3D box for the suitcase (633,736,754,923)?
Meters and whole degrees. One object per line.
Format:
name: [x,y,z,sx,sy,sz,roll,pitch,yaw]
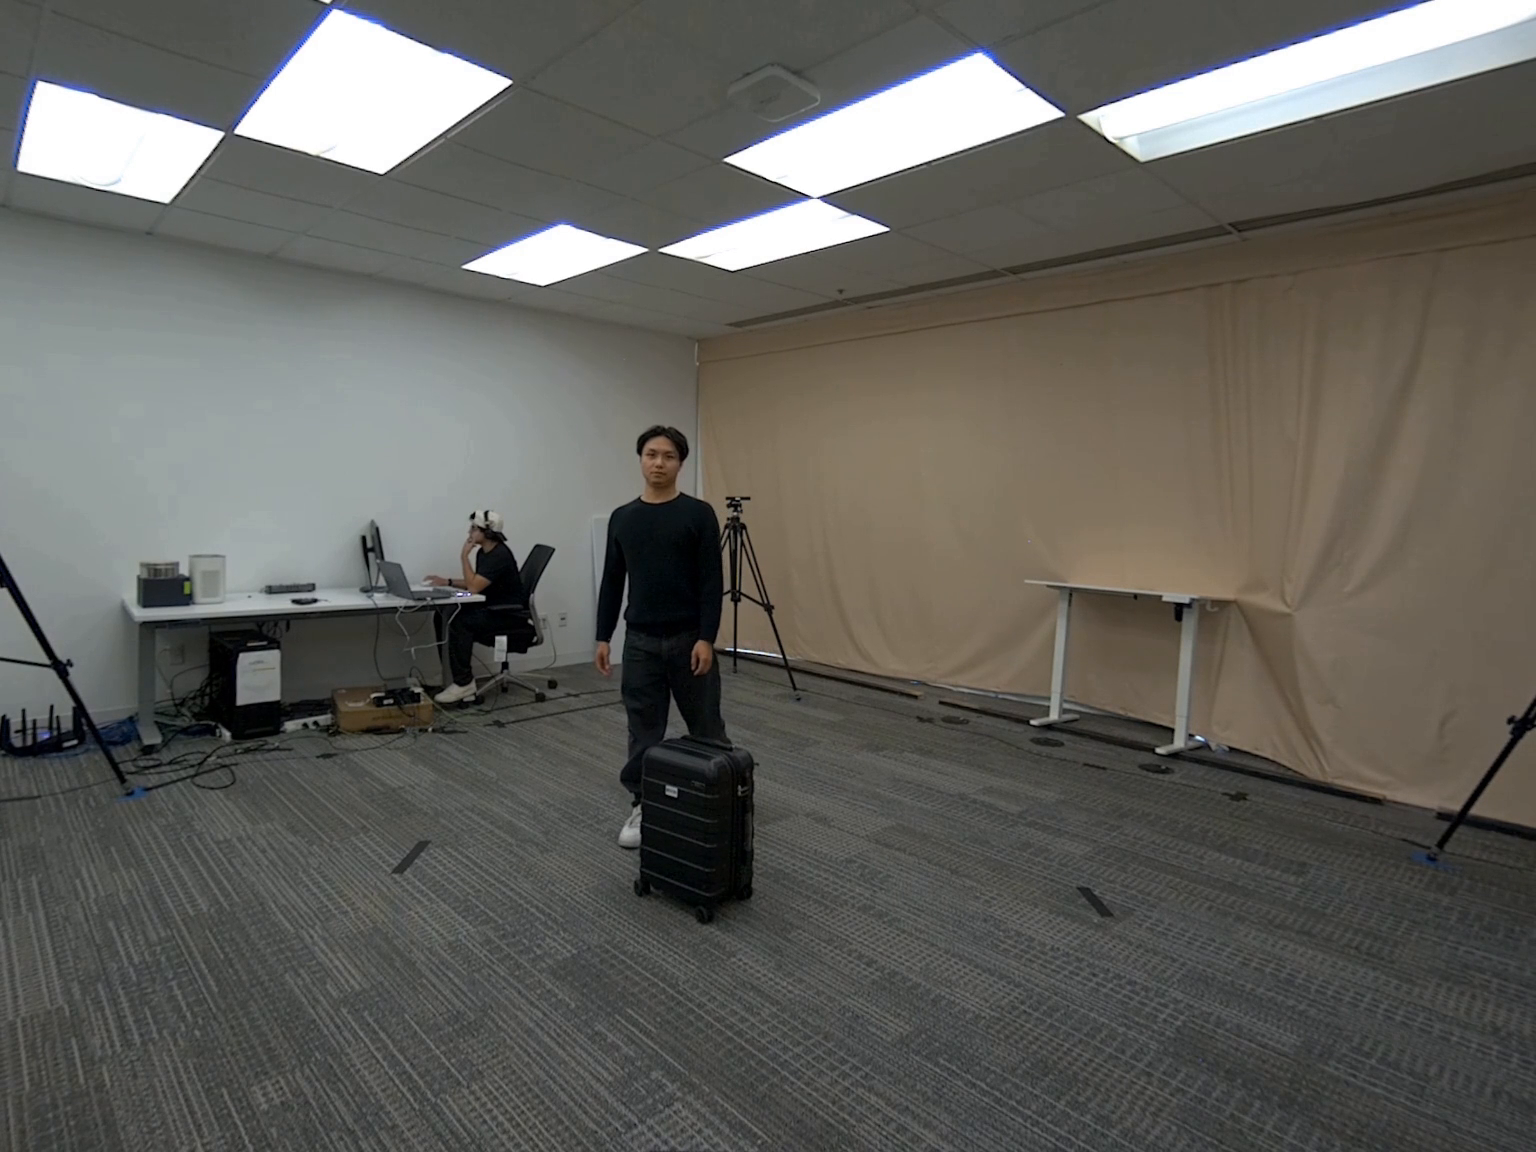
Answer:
suitcase: [-0.248,0.851,2.901,0.384,0.548,0.243,5,5,36]
